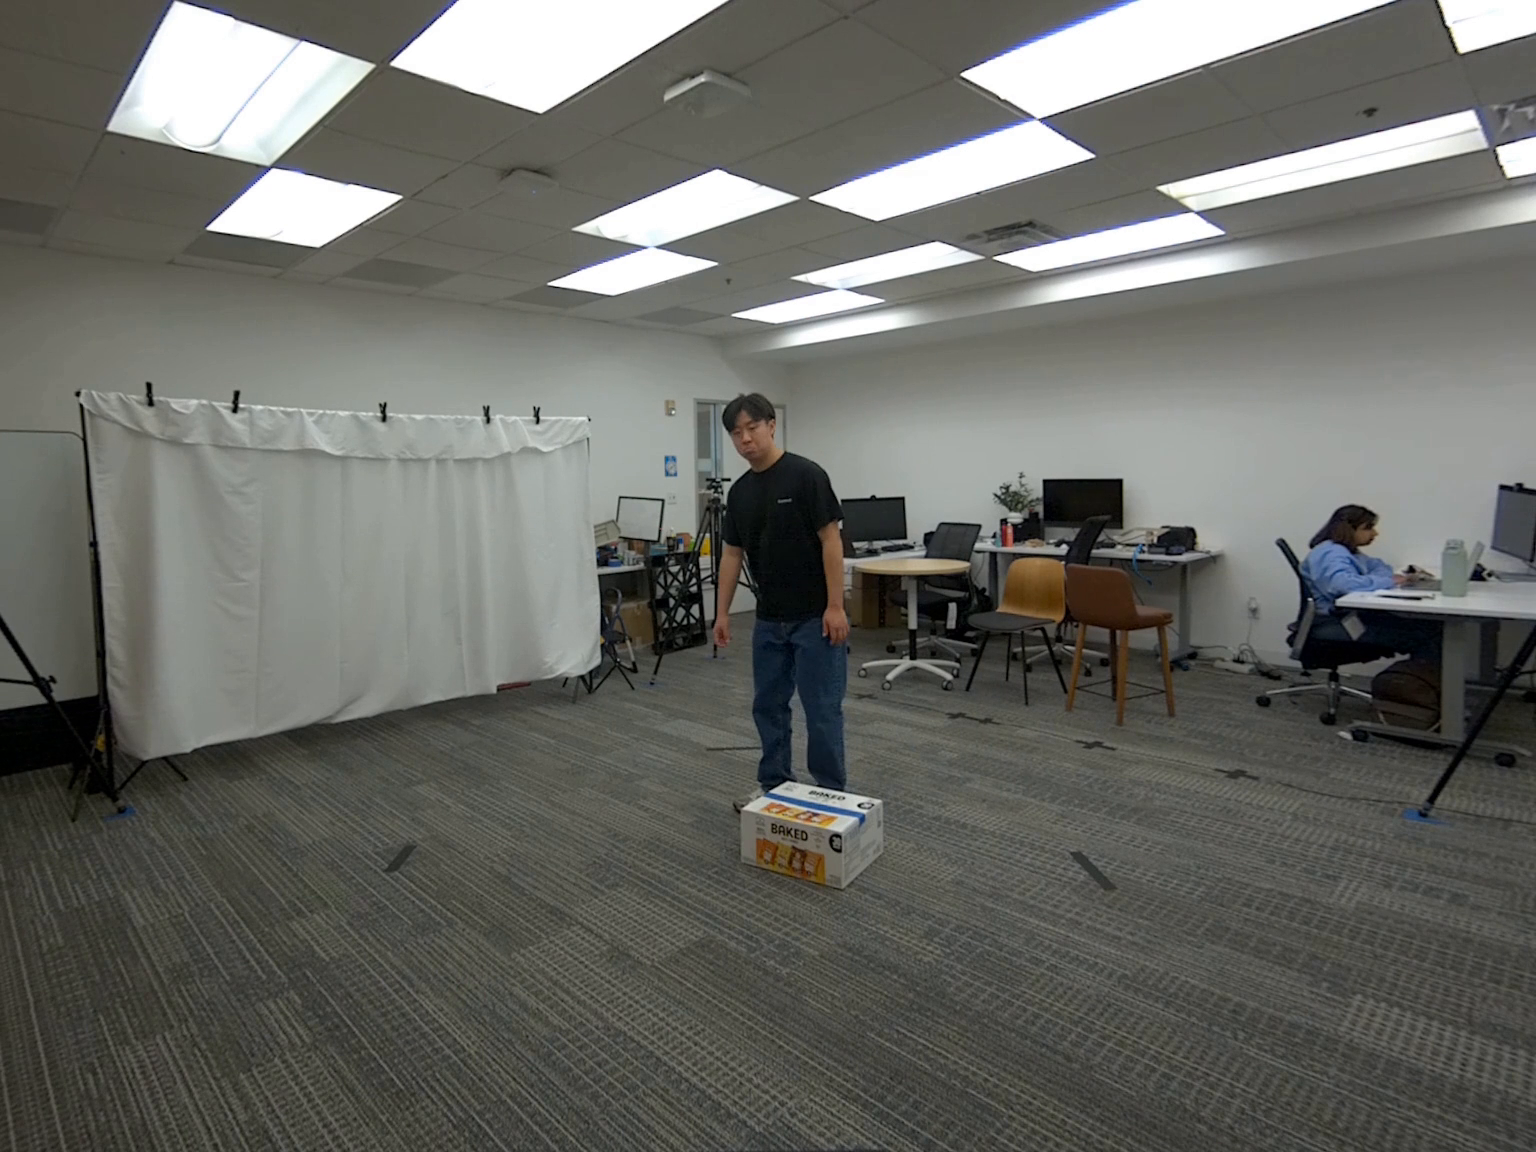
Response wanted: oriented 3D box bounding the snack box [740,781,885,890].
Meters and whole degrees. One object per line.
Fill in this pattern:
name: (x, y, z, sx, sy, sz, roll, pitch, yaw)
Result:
snack box: (0.166, 0.938, 3.124, 0.416, 0.205, 0.333, 3, 7, 32)
